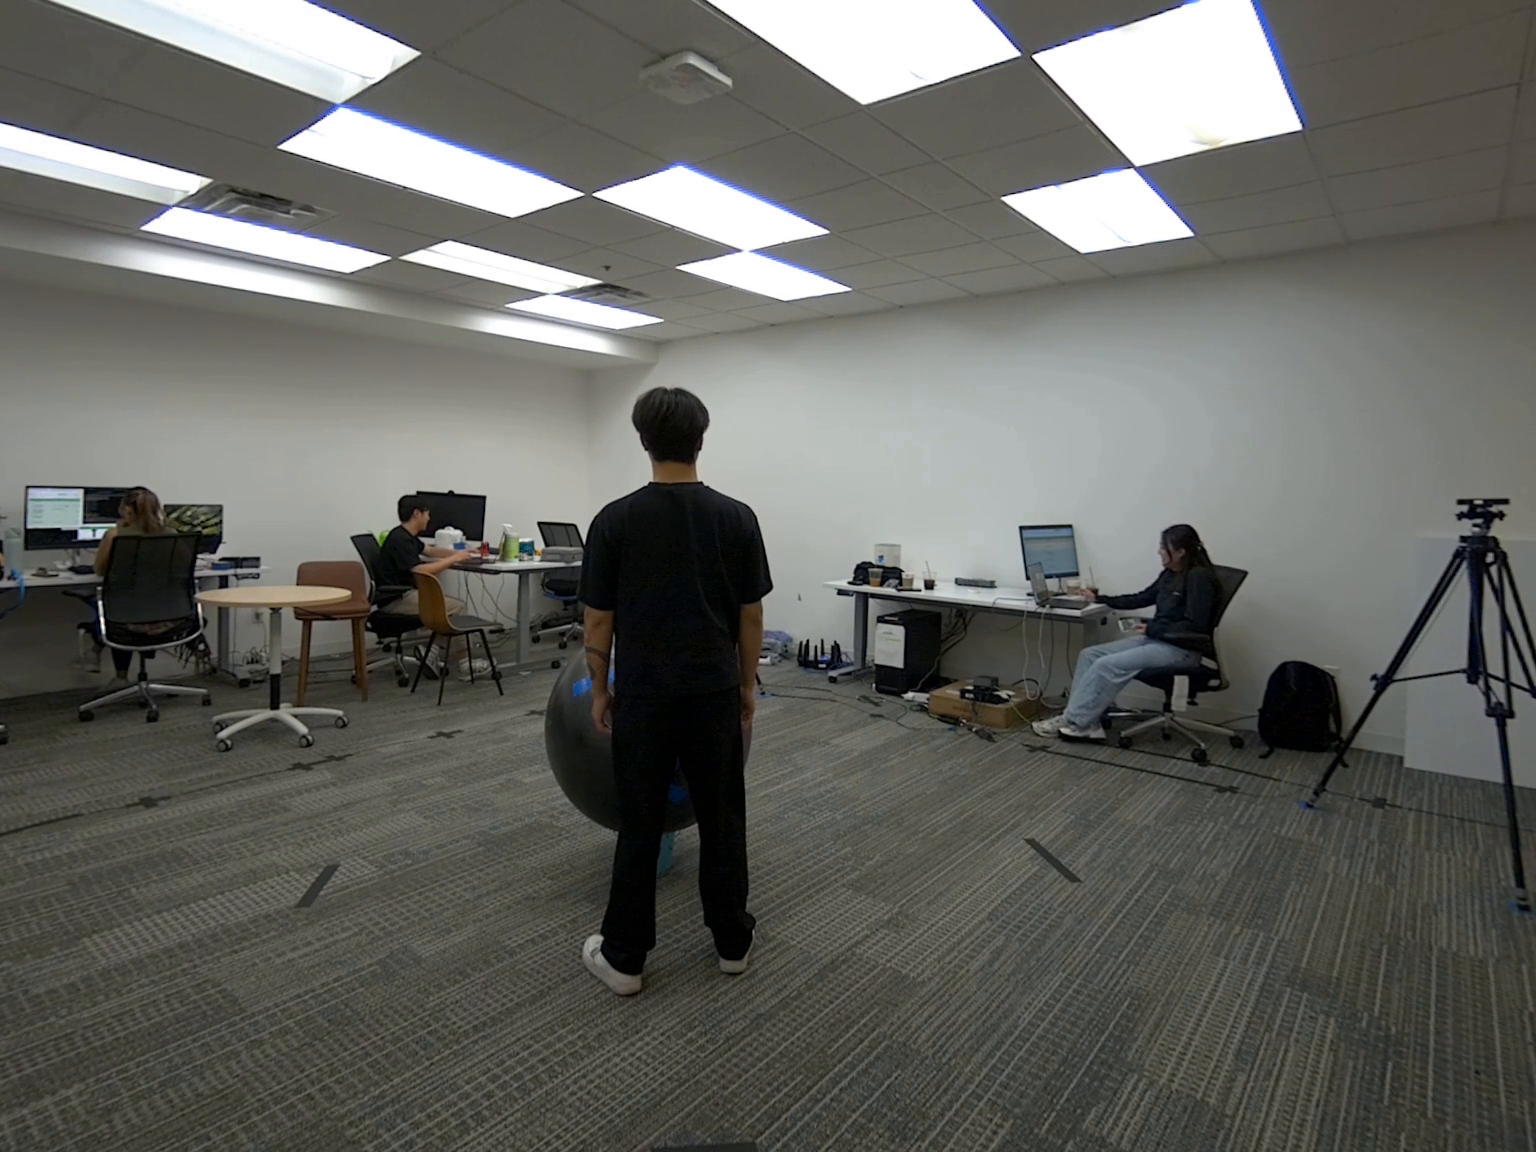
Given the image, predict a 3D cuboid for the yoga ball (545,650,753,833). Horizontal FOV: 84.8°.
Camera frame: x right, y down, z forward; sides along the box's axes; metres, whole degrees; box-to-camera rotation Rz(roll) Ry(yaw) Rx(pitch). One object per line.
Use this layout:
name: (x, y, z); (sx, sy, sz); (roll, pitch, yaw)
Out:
yoga ball: (-0.449, 0.553, 3.135); (0.757, 0.756, 0.762); (1, 4, -2)
